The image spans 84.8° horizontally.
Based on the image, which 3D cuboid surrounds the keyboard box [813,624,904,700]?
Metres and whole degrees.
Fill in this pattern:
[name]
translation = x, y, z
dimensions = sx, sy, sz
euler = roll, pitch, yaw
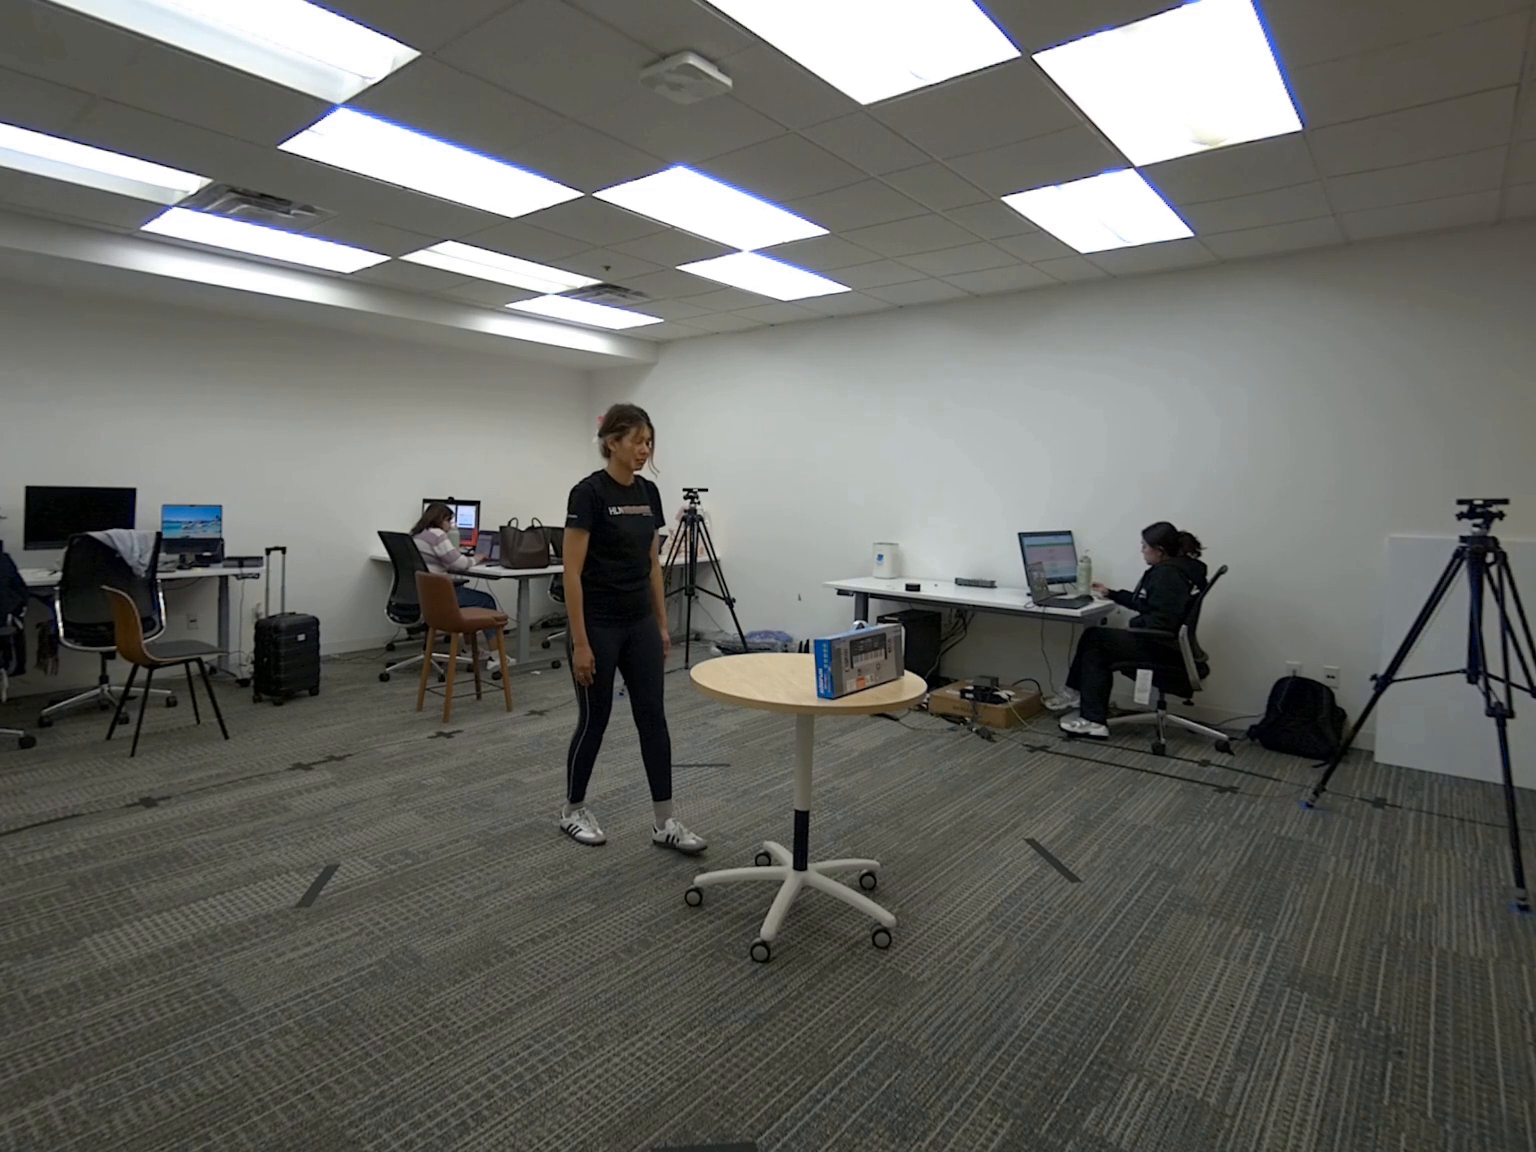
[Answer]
[keyboard box]
translation = 0.286, 0.257, 2.653
dimensions = 0.061, 0.176, 0.424
euler = -3, 1, 38
